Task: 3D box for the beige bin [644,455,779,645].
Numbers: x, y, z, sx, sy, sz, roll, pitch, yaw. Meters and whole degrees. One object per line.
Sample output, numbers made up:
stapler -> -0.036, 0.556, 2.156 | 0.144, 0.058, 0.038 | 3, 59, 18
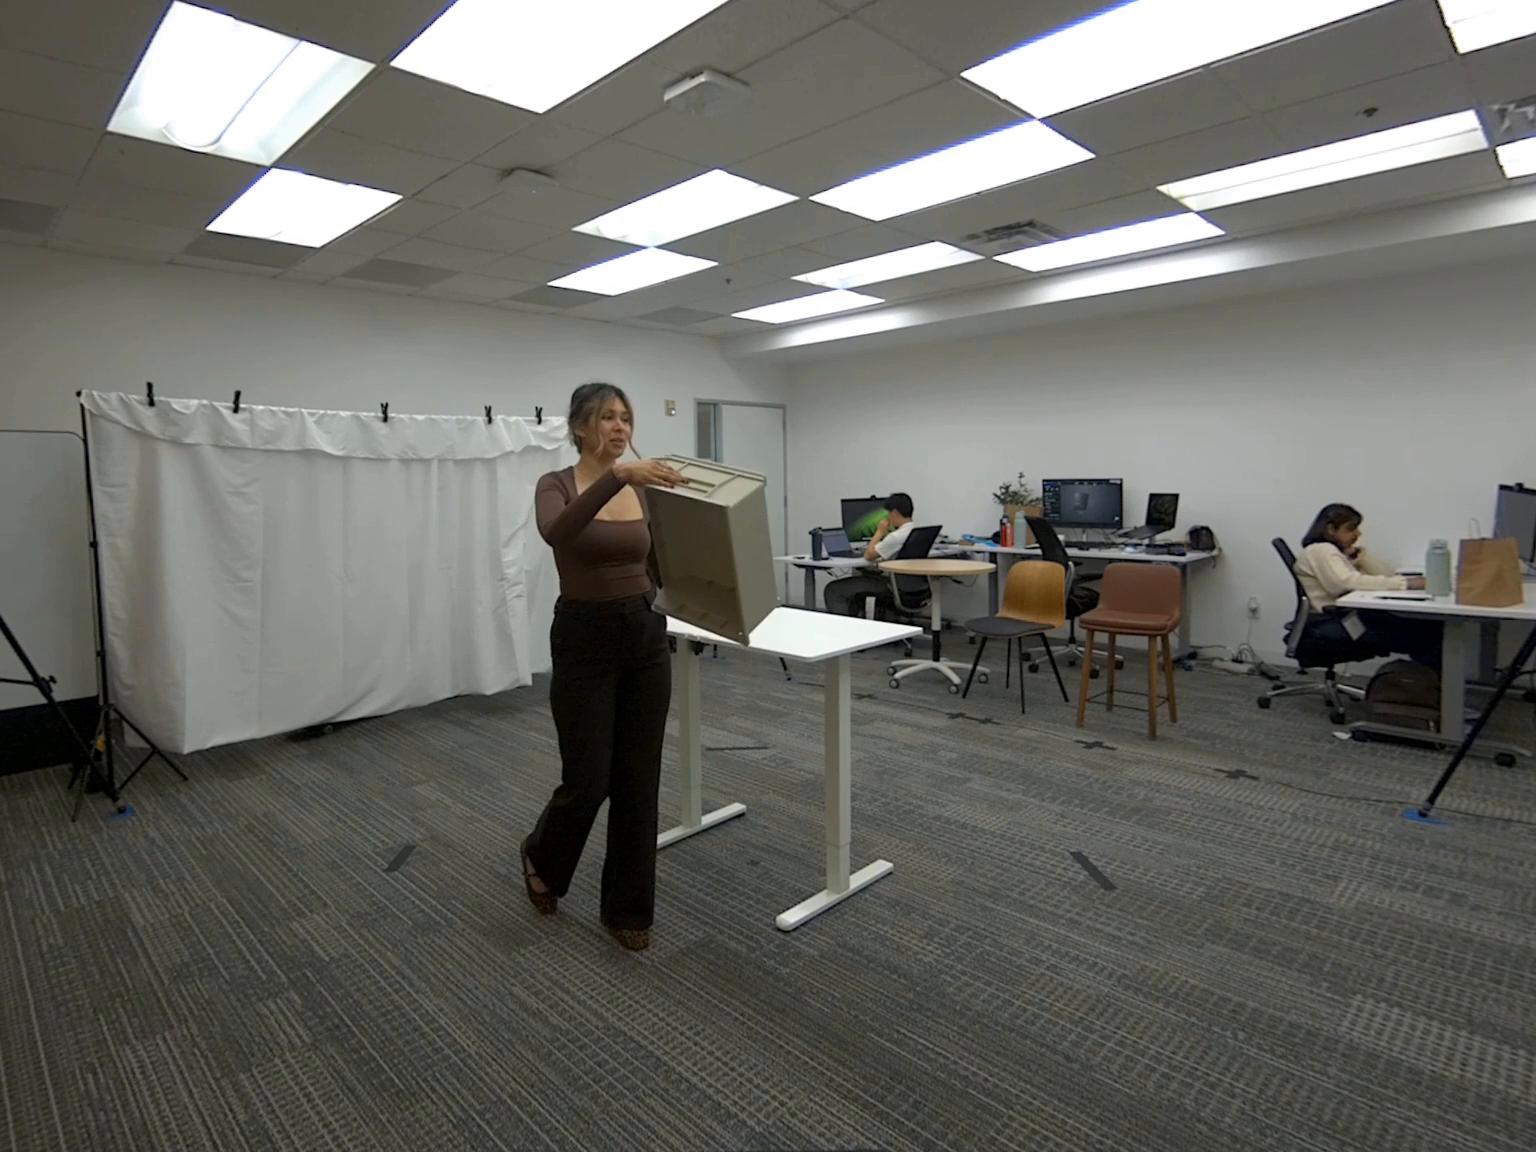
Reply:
beige bin -> -0.177, -0.078, 2.279 | 0.390, 0.411, 0.188 | 17, 38, 33
